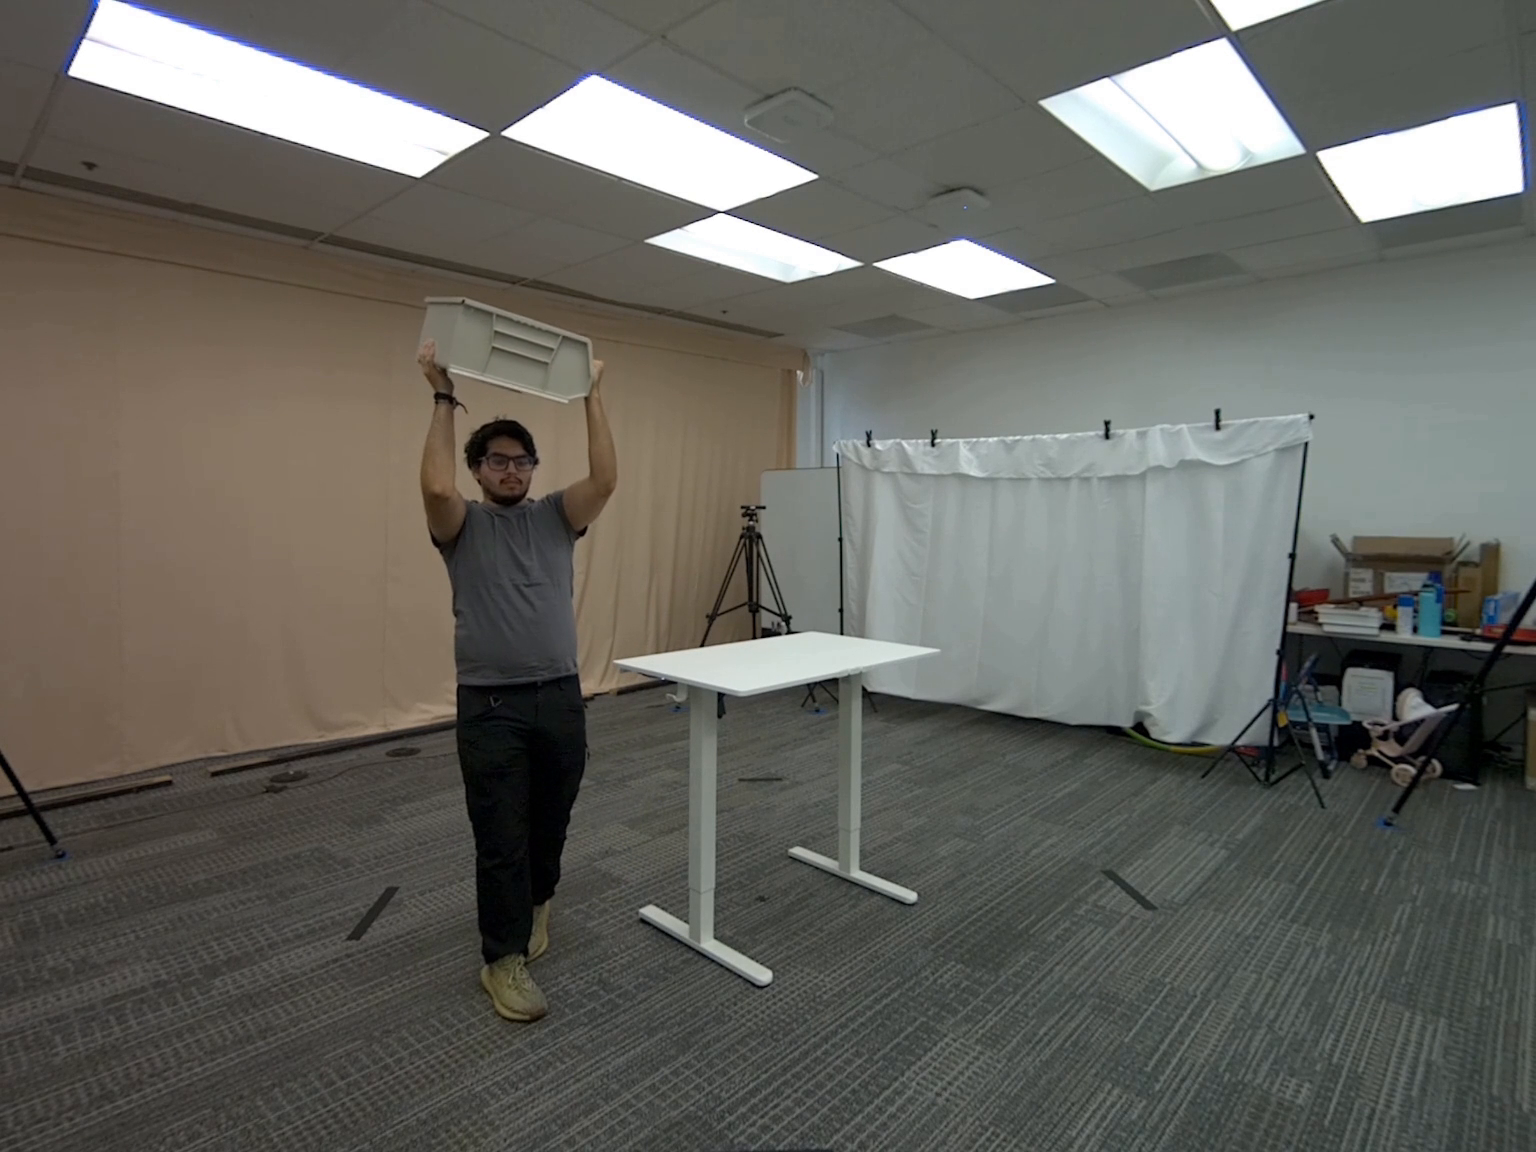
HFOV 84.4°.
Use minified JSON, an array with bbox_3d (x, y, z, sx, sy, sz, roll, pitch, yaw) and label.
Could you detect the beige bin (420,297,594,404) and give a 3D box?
[{"bbox_3d":[-0.717,-0.606,2.286,0.365,0.188,0.437,11,9,-35],"label":"beige bin"}]
